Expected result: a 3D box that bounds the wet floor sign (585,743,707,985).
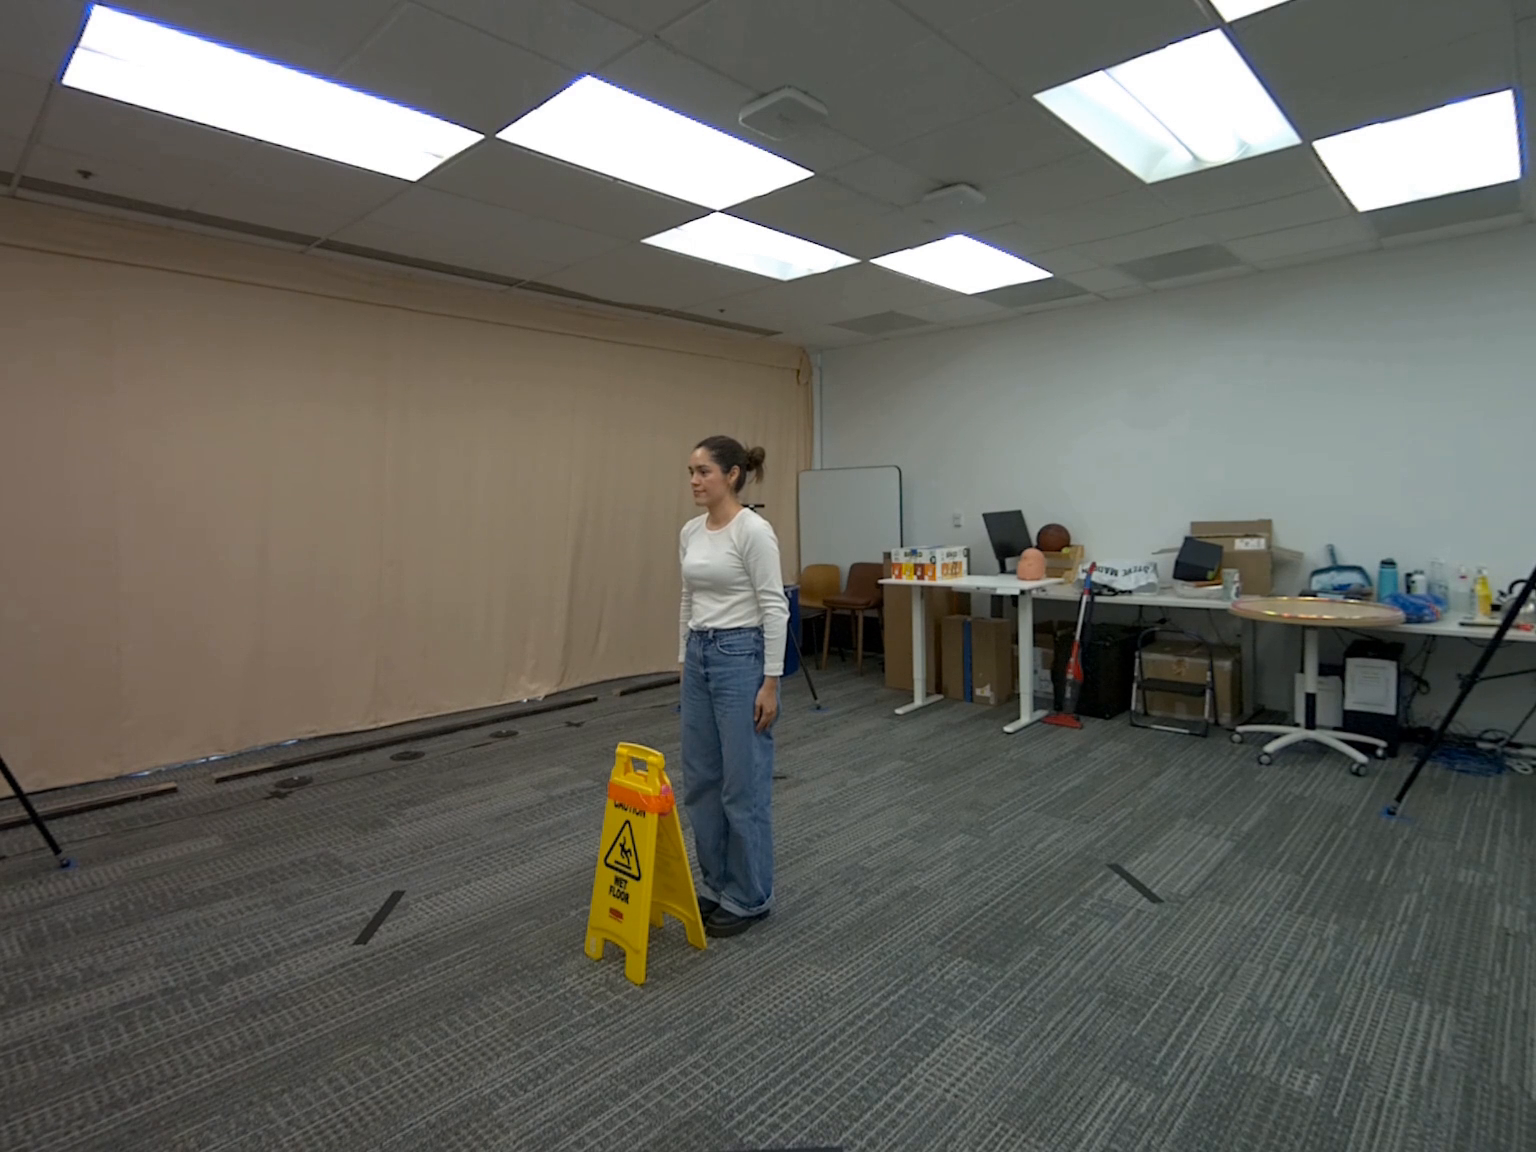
[{"bbox_3d":[-0.388,0.854,2.620,0.291,0.645,0.281,0,4,43],"label":"wet floor sign"}]
